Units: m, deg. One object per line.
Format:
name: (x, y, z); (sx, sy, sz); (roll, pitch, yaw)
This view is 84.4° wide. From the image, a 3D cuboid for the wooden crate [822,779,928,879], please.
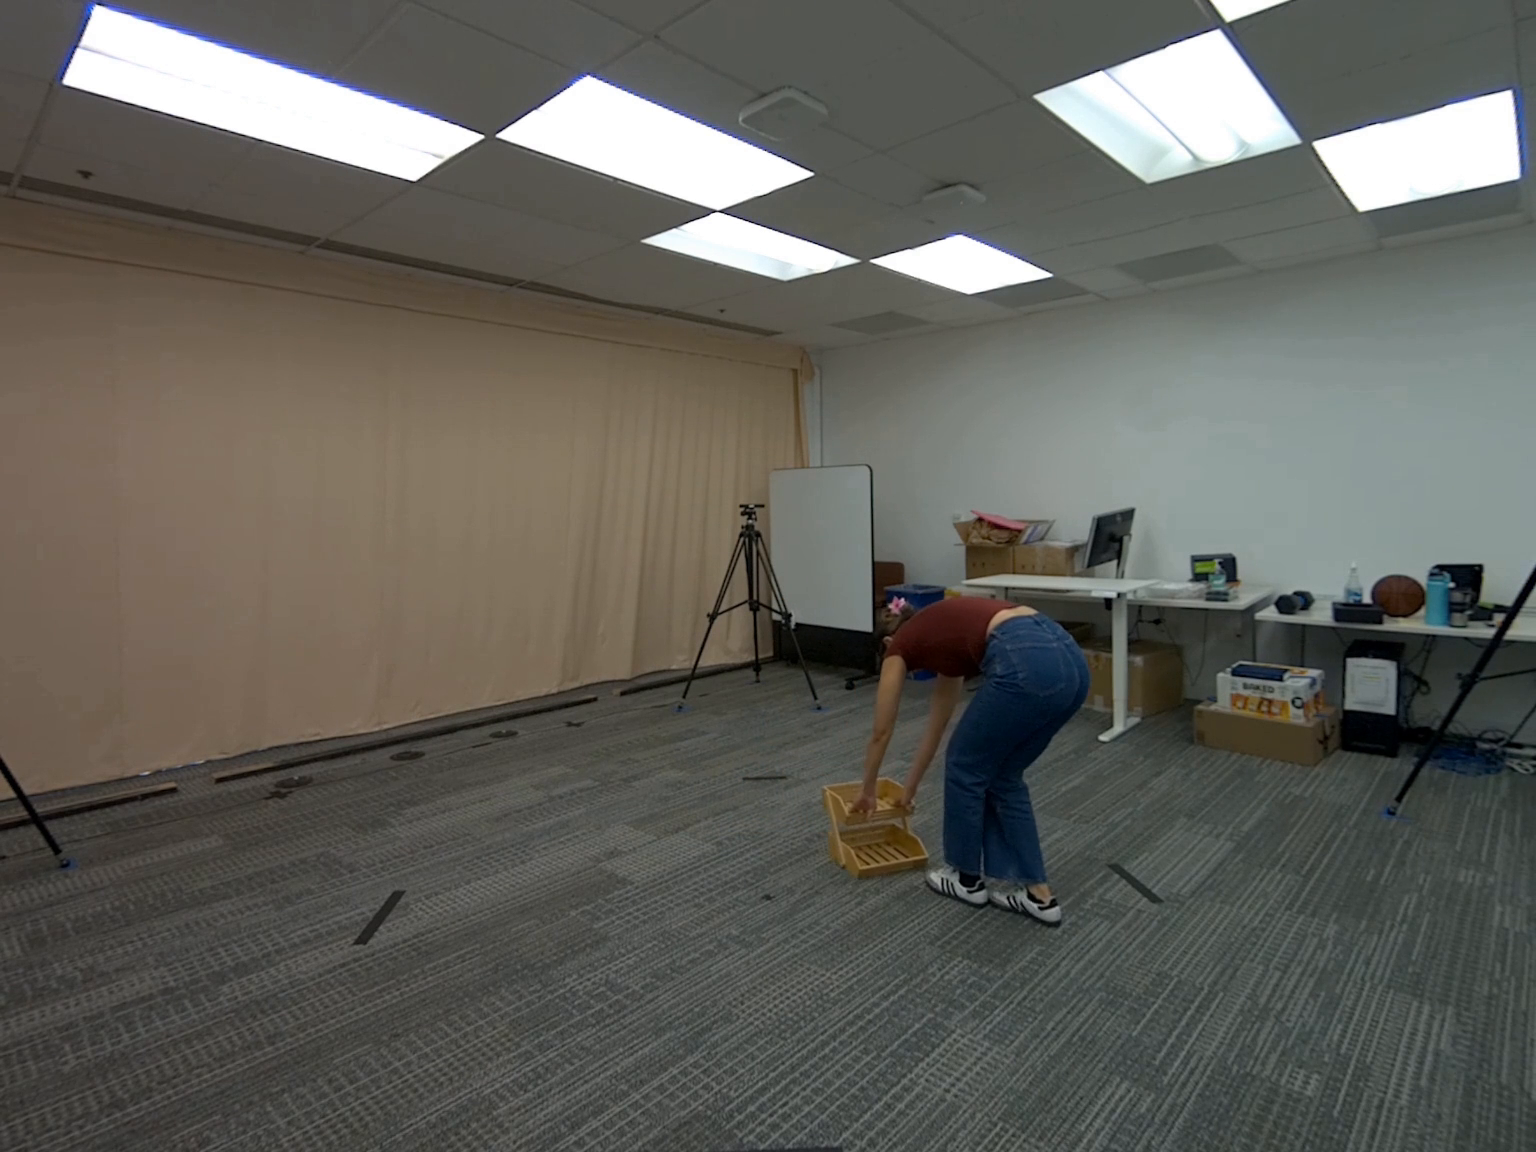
wooden crate: (0.420, 0.971, 3.275); (0.317, 0.273, 0.309); (-2, 4, -22)
